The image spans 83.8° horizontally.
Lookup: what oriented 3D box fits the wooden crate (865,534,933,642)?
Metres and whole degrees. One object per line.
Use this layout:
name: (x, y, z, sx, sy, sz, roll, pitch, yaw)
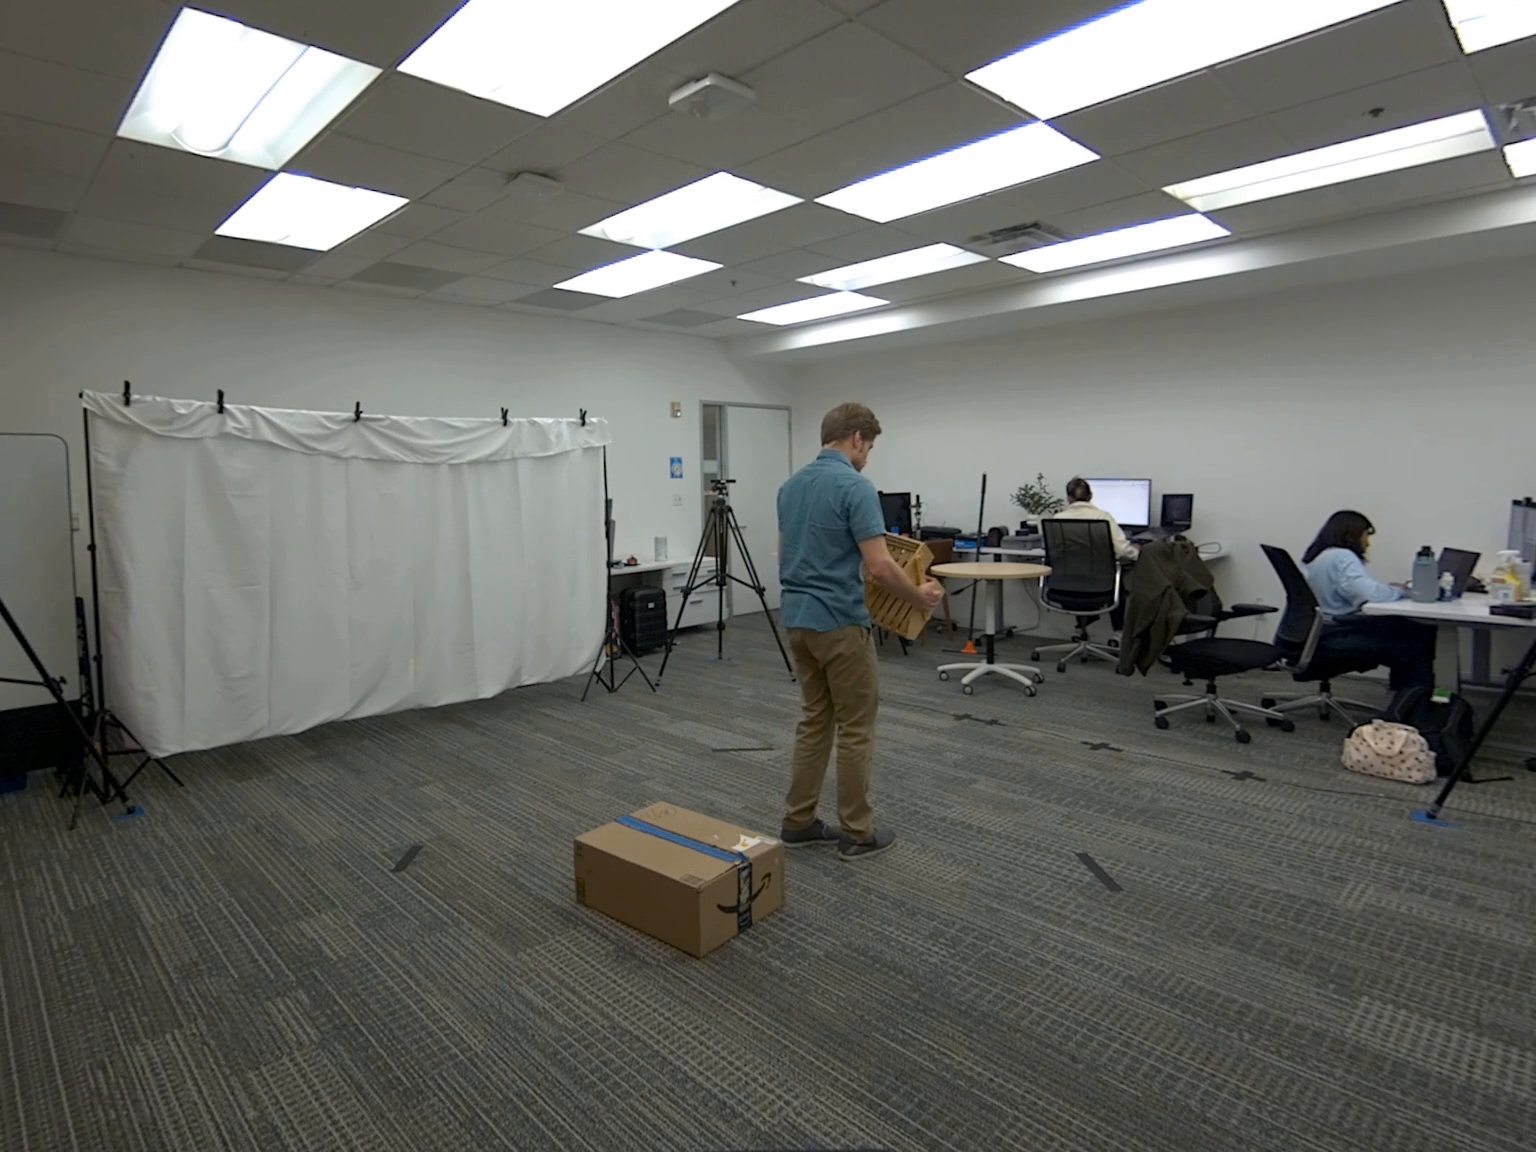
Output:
wooden crate: (0.458, 0.028, 3.297, 0.336, 0.302, 0.263, 21, -20, 48)
